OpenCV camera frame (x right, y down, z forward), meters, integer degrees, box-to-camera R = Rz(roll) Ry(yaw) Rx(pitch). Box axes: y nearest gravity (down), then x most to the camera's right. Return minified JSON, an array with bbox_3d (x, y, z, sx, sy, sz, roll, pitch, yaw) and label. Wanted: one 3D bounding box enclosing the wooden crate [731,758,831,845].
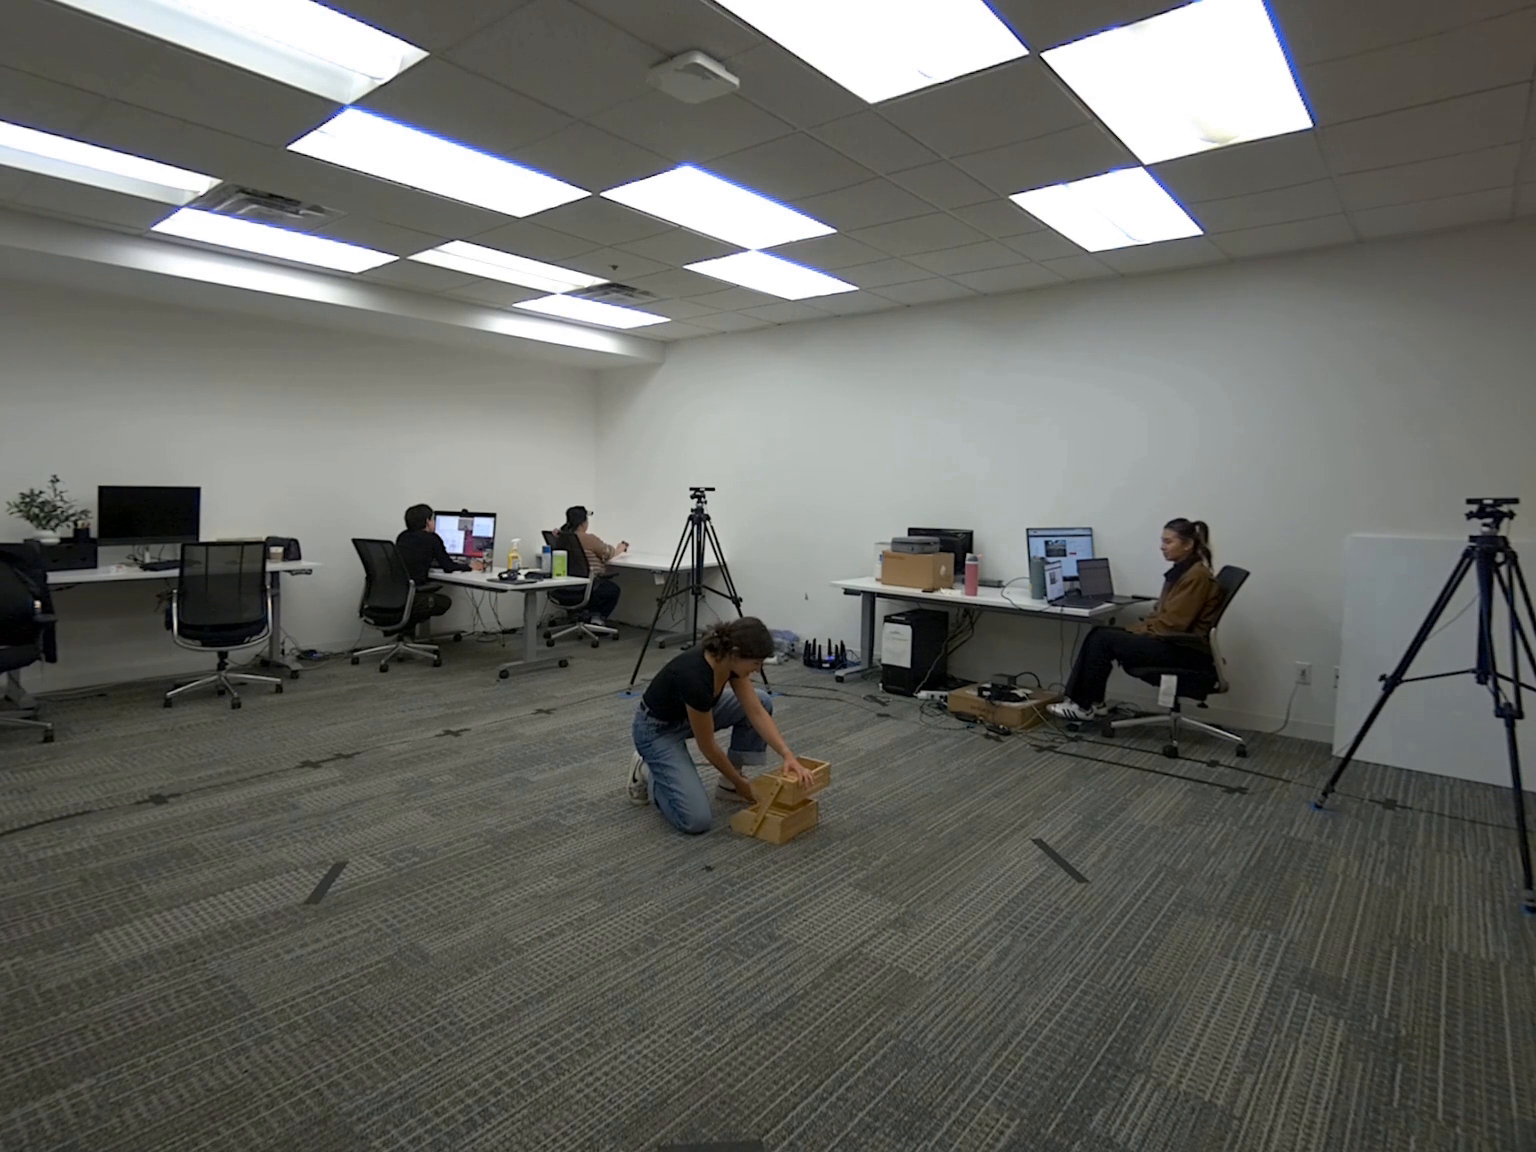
[{"bbox_3d":[0.039,0.898,3.503,0.312,0.272,0.315,4,6,35],"label":"wooden crate"}]
